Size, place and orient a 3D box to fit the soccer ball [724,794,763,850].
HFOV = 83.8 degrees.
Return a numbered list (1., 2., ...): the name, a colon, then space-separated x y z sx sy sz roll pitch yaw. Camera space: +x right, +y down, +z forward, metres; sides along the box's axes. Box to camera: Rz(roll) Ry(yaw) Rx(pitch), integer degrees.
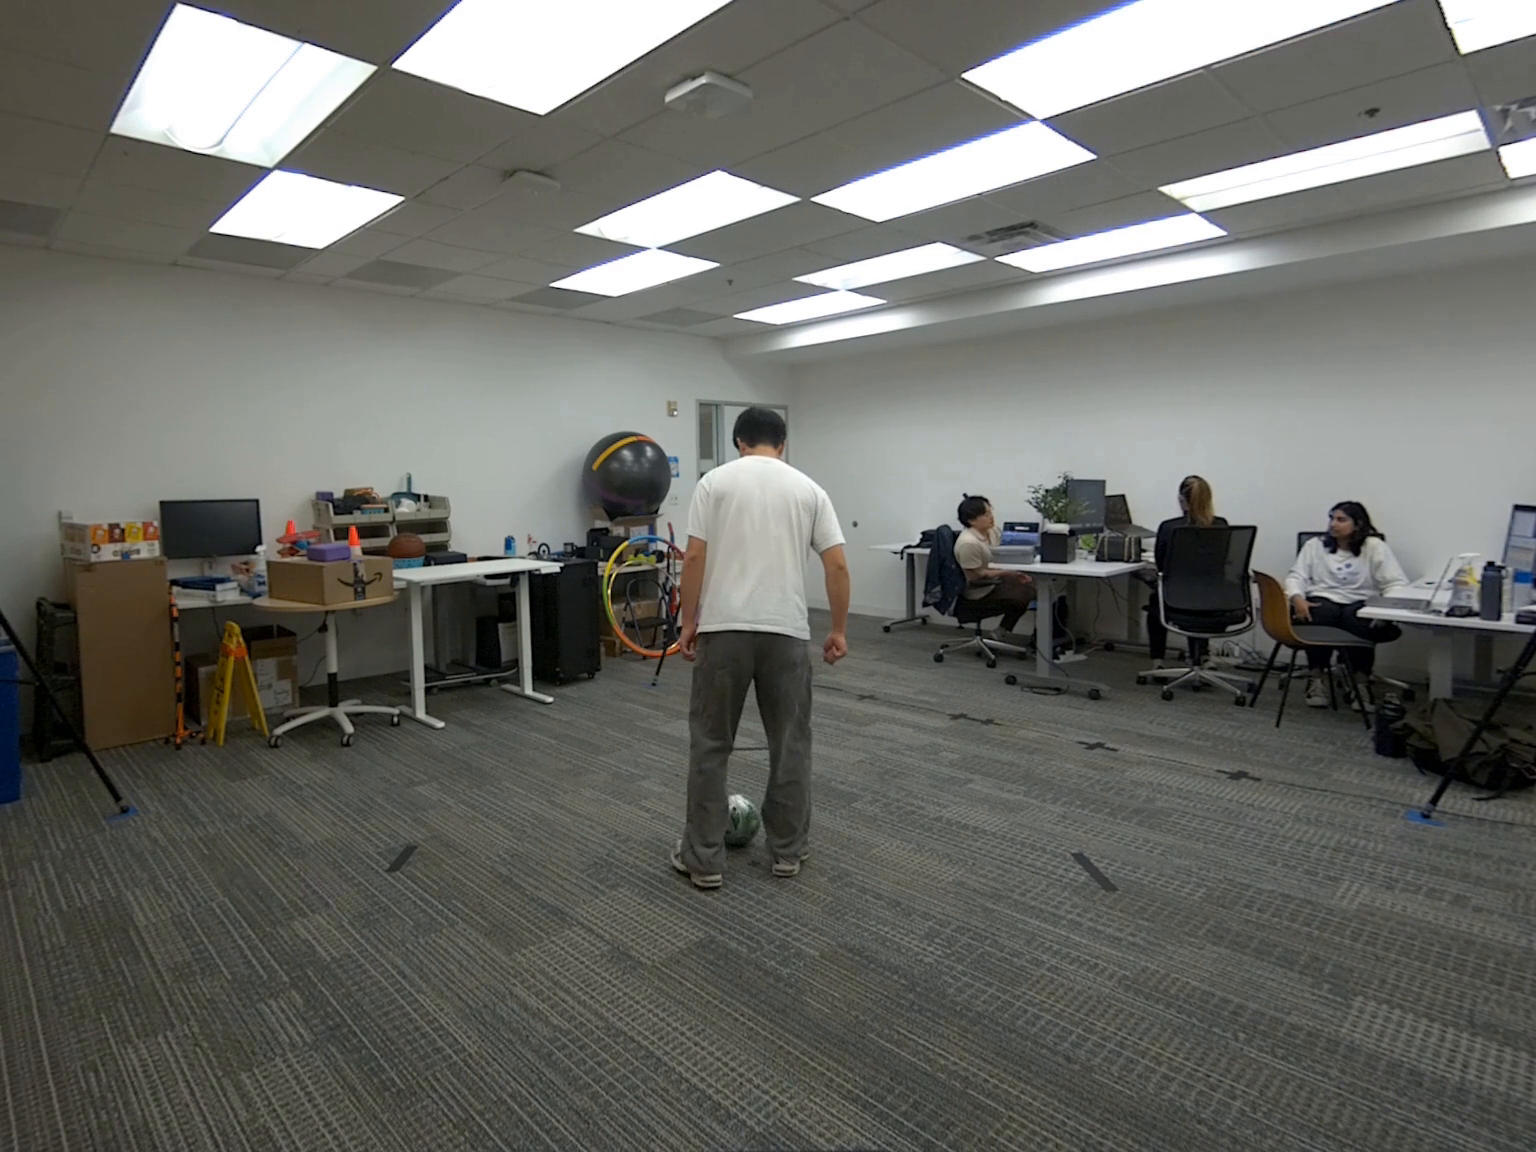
1. soccer ball: -0.120 0.934 3.280 0.187 0.187 0.188 -1 5 -2
